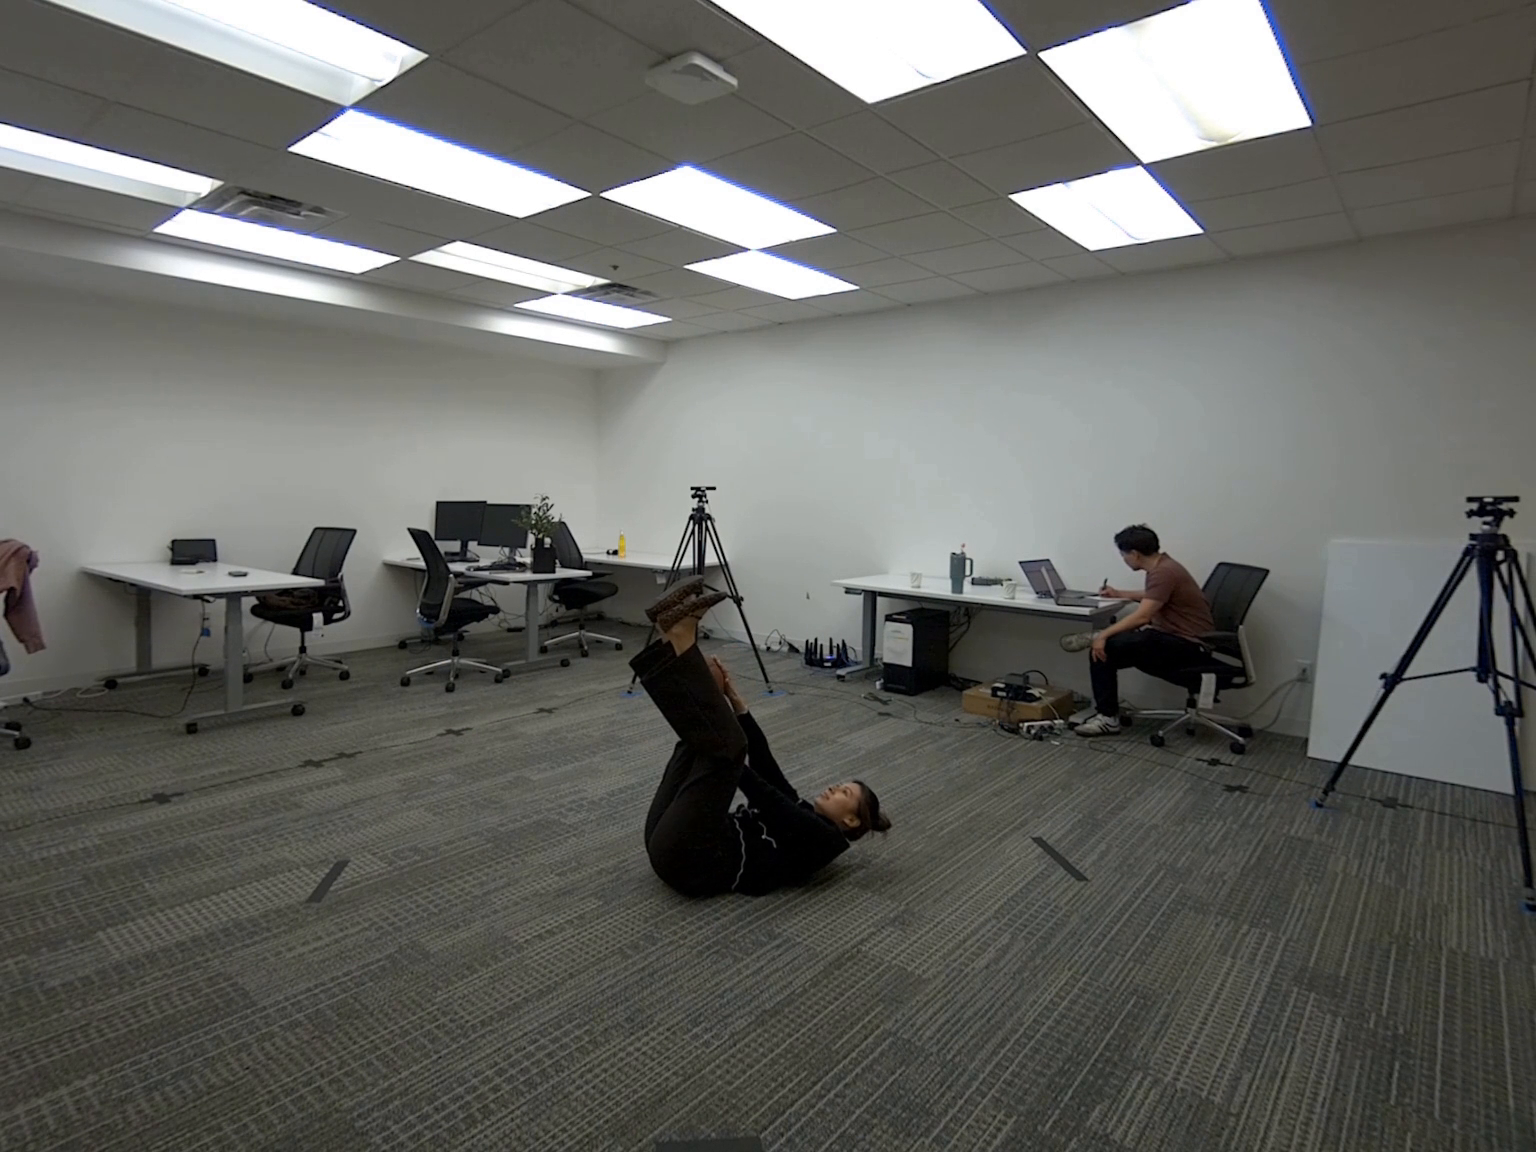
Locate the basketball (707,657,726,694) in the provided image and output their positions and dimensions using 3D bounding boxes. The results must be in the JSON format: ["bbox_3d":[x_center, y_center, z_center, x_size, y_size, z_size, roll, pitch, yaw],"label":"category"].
[{"bbox_3d":[-0.283,0.380,2.986,0.236,0.235,0.237,1,4,-2],"label":"basketball"}]
